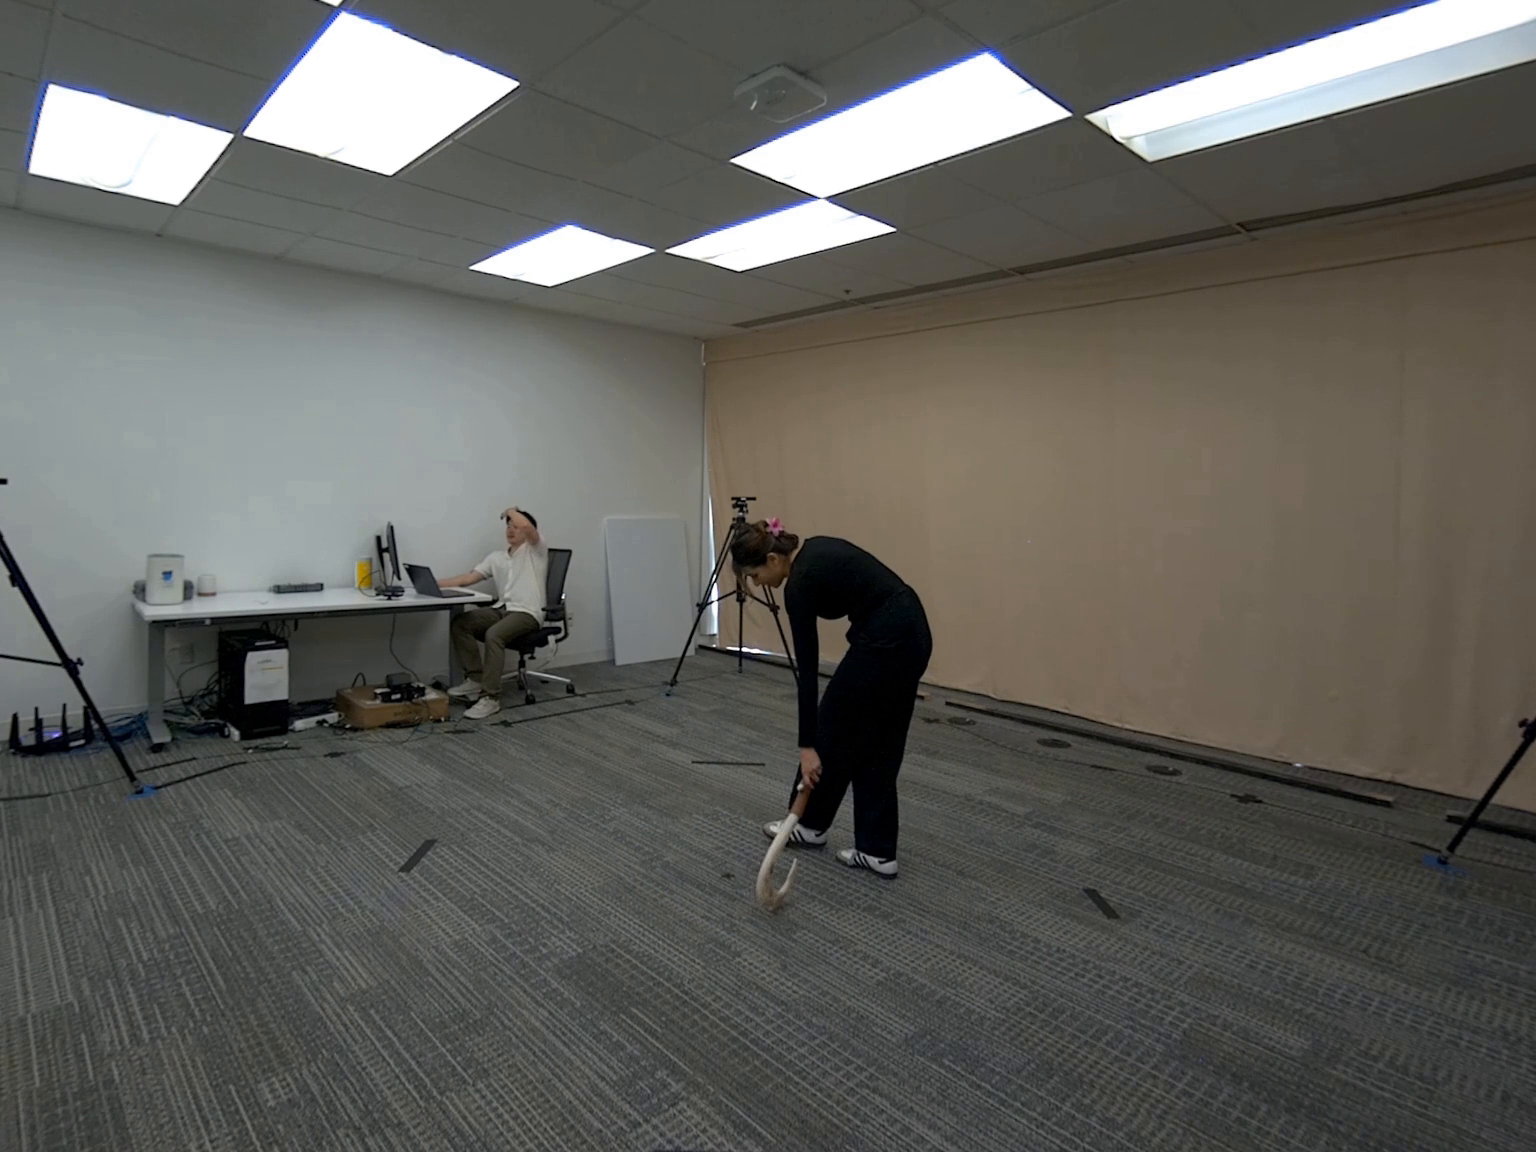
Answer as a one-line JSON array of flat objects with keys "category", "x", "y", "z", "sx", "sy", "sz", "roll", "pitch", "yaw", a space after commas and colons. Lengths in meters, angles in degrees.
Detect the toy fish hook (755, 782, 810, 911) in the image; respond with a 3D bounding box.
[{"category": "toy fish hook", "x": 0.078, "y": 0.902, "z": 2.929, "sx": 0.049, "sy": 0.510, "sz": 0.218, "roll": 10, "pitch": -30, "yaw": 29}]
